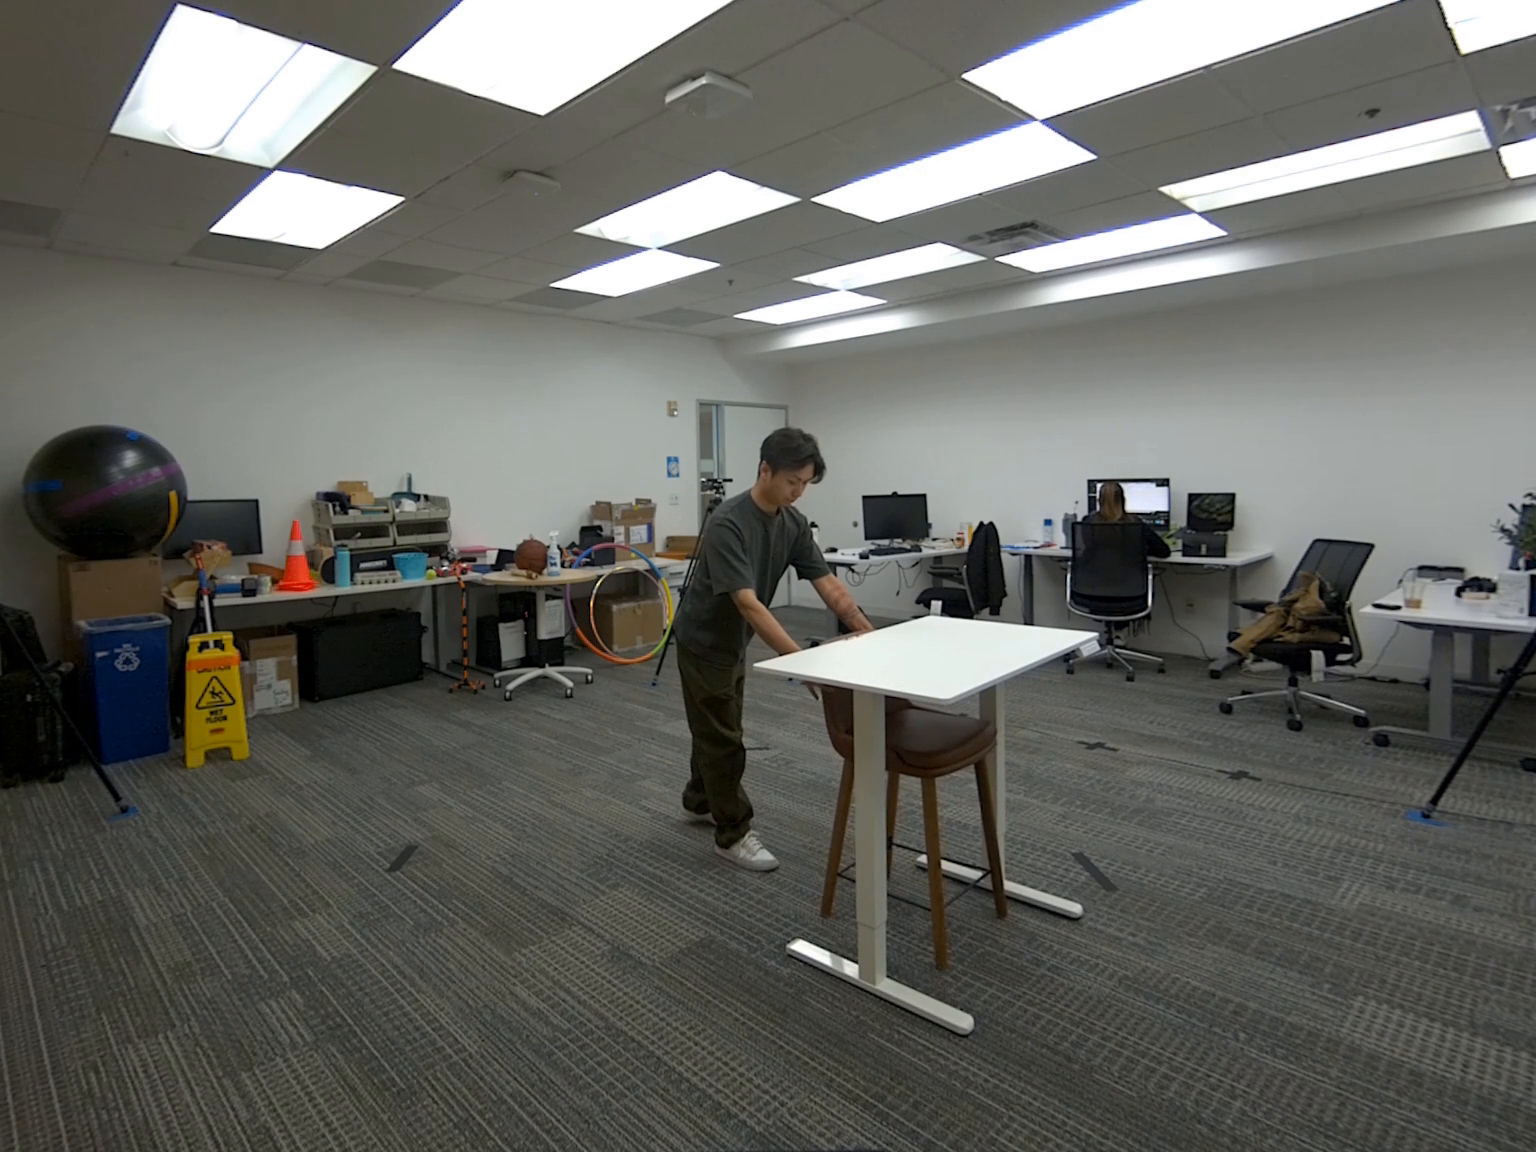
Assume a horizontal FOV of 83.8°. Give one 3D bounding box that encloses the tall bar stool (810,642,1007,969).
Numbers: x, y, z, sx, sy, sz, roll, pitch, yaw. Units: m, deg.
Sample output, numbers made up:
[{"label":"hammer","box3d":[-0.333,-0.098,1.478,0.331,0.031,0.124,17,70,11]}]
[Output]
[{"label":"tall bar stool","box3d":[0.444,0.648,2.689,0.481,0.888,0.444,-1,3,42]}]
